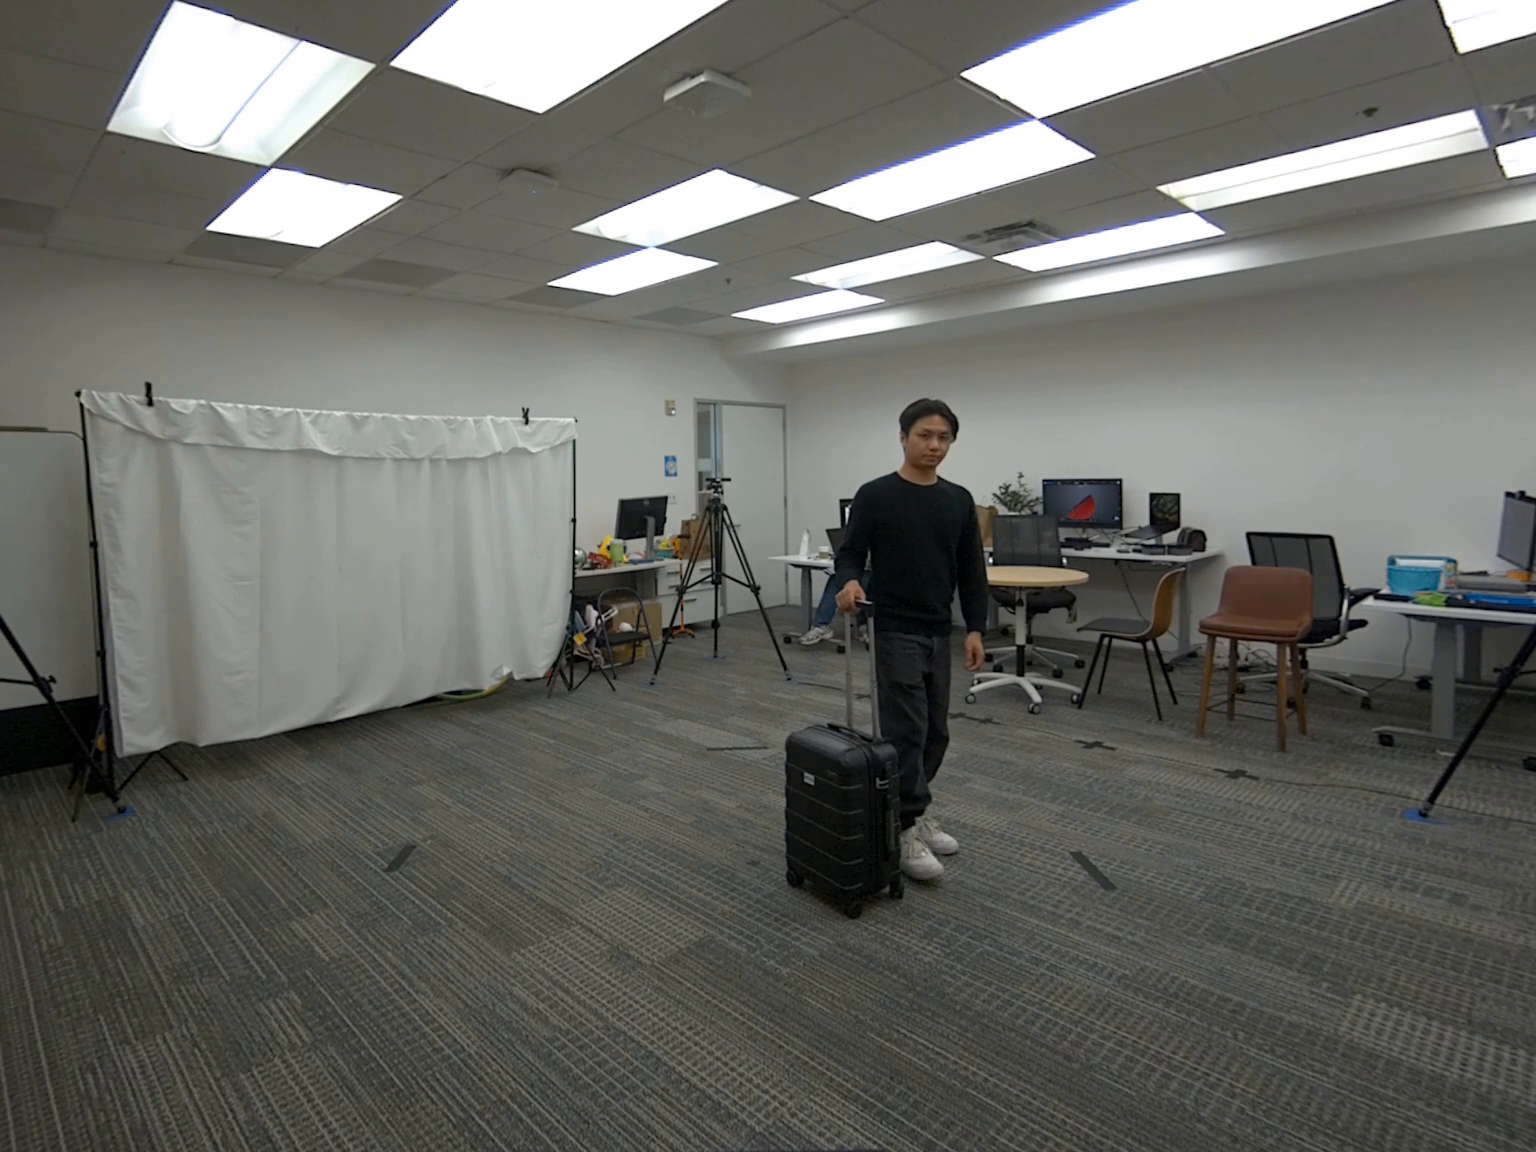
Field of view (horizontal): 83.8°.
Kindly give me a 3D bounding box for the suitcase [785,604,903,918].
[{"bbox_3d":[0.238,0.588,2.843,0.251,0.973,0.395,-6,6,-32],"label":"suitcase"}]
